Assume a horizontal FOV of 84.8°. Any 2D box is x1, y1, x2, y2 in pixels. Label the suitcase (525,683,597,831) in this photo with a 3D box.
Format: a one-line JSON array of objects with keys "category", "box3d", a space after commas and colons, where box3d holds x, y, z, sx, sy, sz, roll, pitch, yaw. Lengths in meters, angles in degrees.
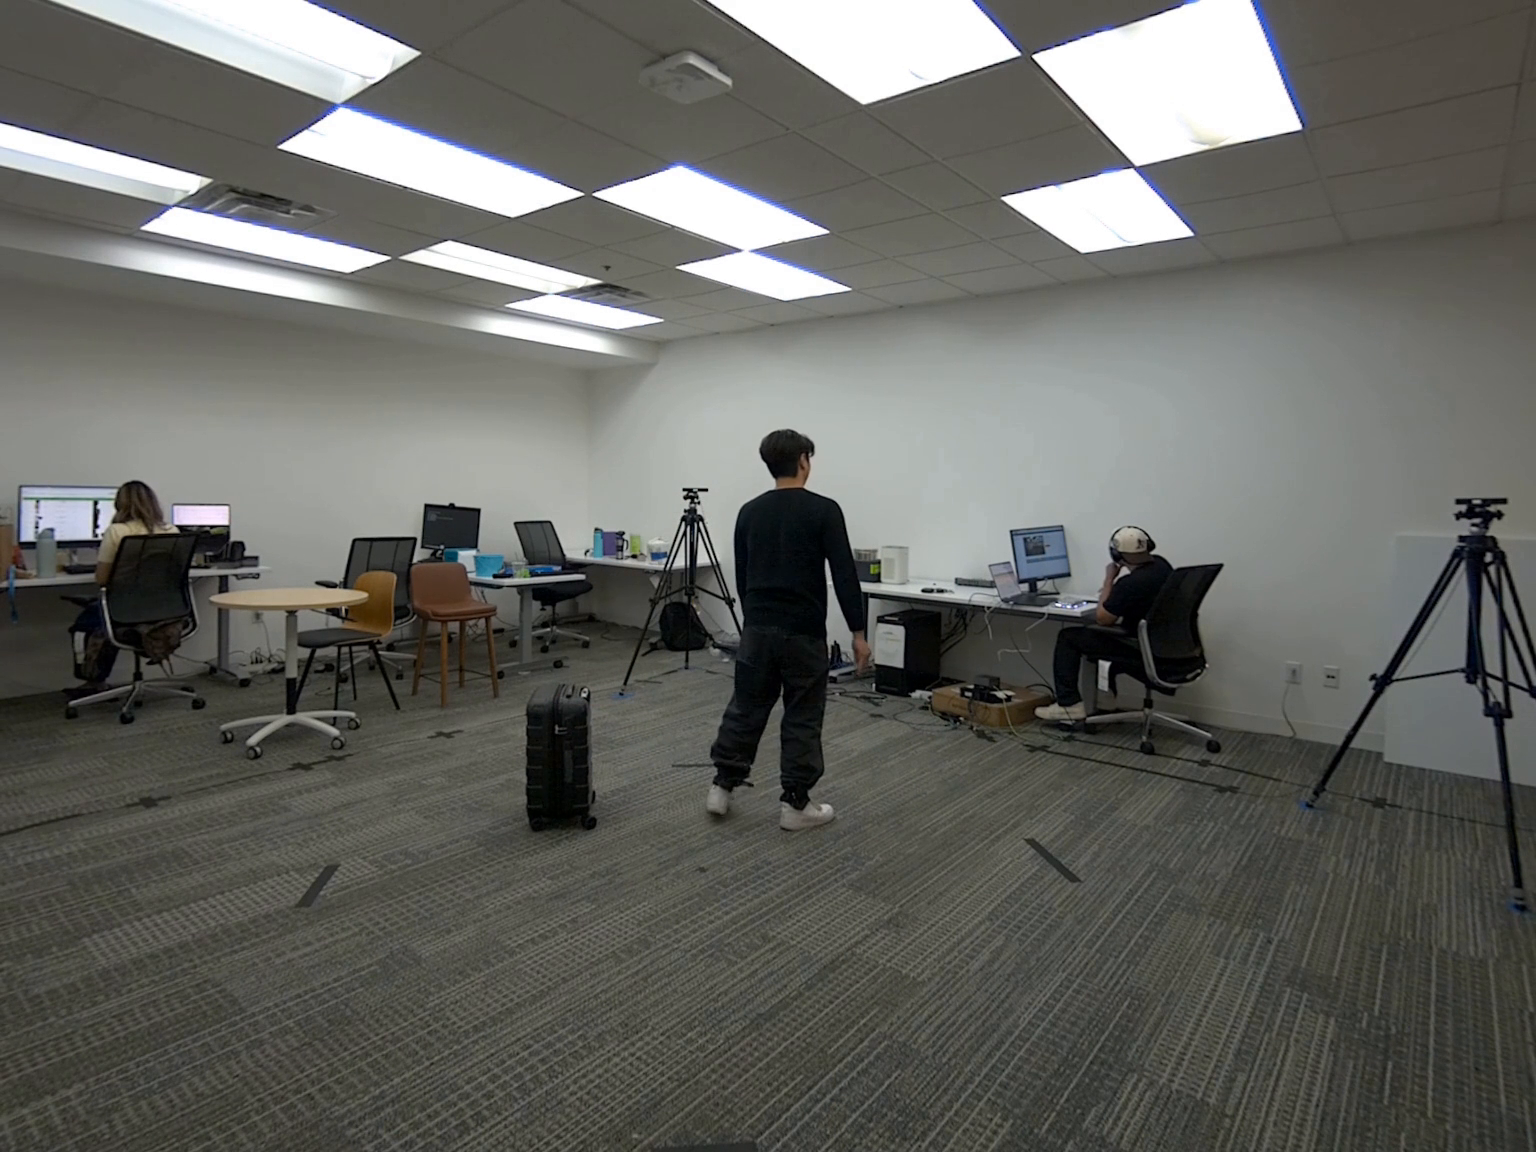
[{"category": "suitcase", "box3d": [-0.879, 0.739, 3.582, 0.247, 0.547, 0.379, -1, 4, -7]}]
